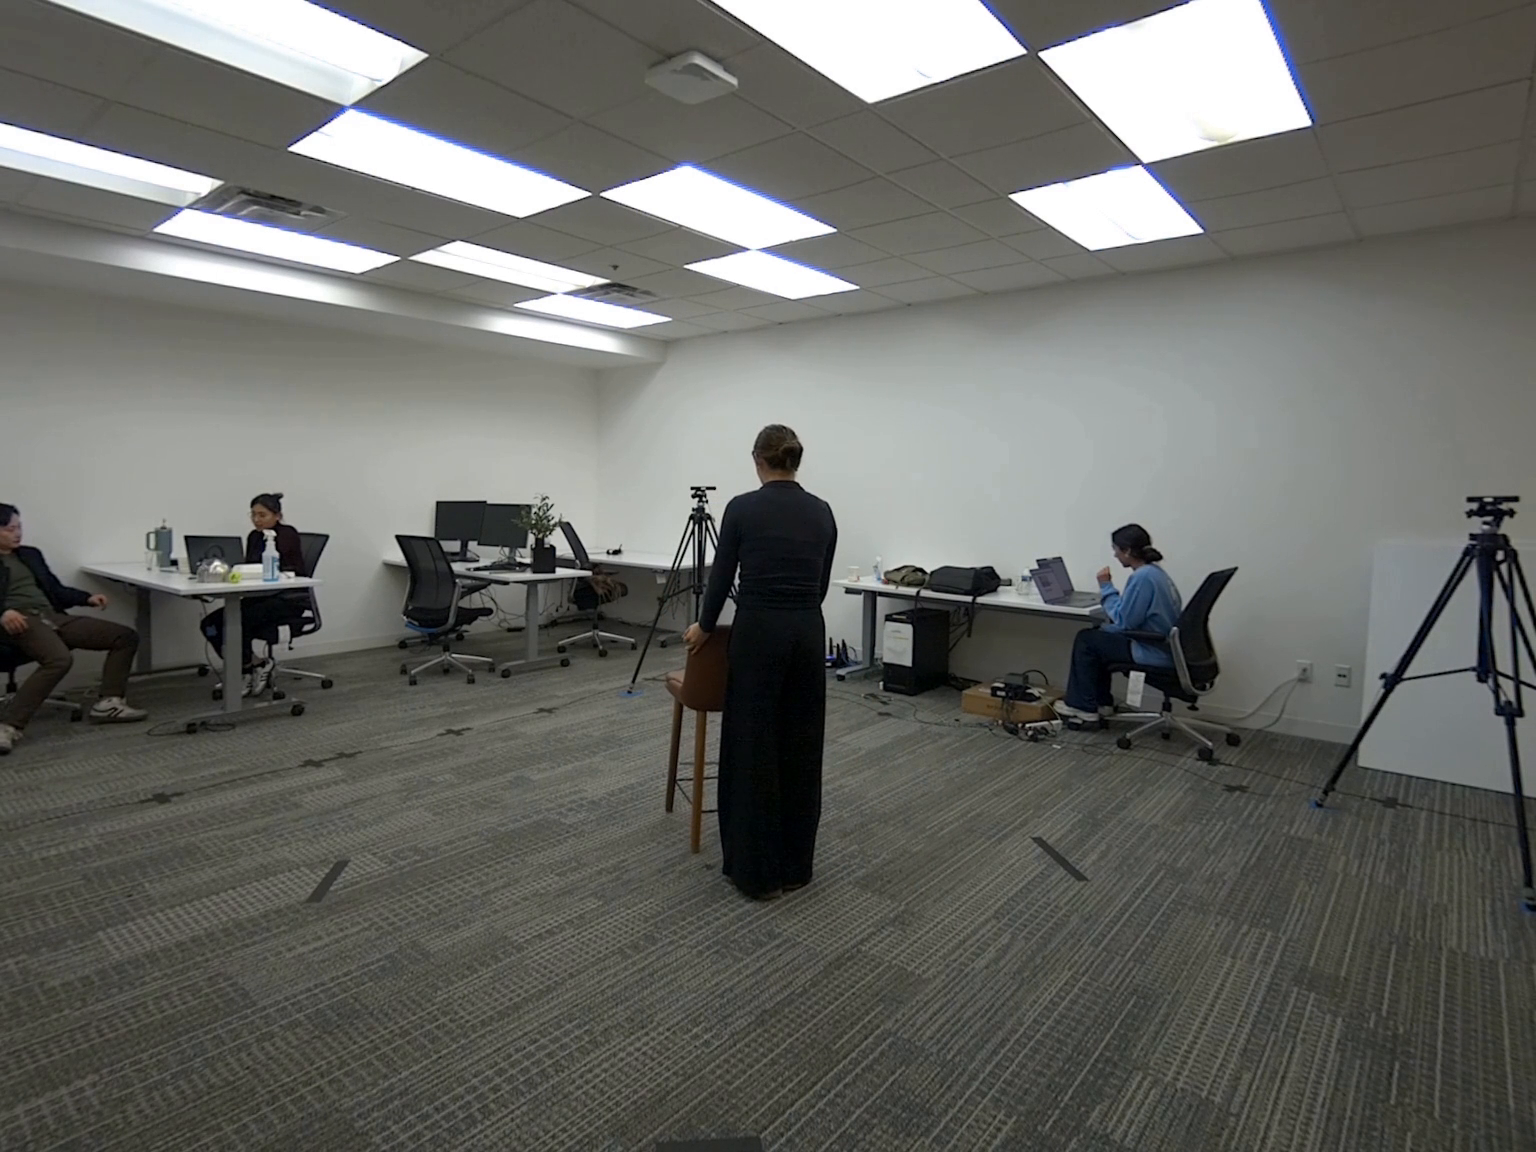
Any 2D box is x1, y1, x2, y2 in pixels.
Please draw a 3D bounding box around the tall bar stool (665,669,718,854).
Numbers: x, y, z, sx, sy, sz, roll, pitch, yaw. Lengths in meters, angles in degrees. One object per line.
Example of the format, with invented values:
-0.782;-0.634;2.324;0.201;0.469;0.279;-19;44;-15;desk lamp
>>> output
-0.178;0.589;3.460;0.449;0.886;0.478;0;5;-17;tall bar stool
